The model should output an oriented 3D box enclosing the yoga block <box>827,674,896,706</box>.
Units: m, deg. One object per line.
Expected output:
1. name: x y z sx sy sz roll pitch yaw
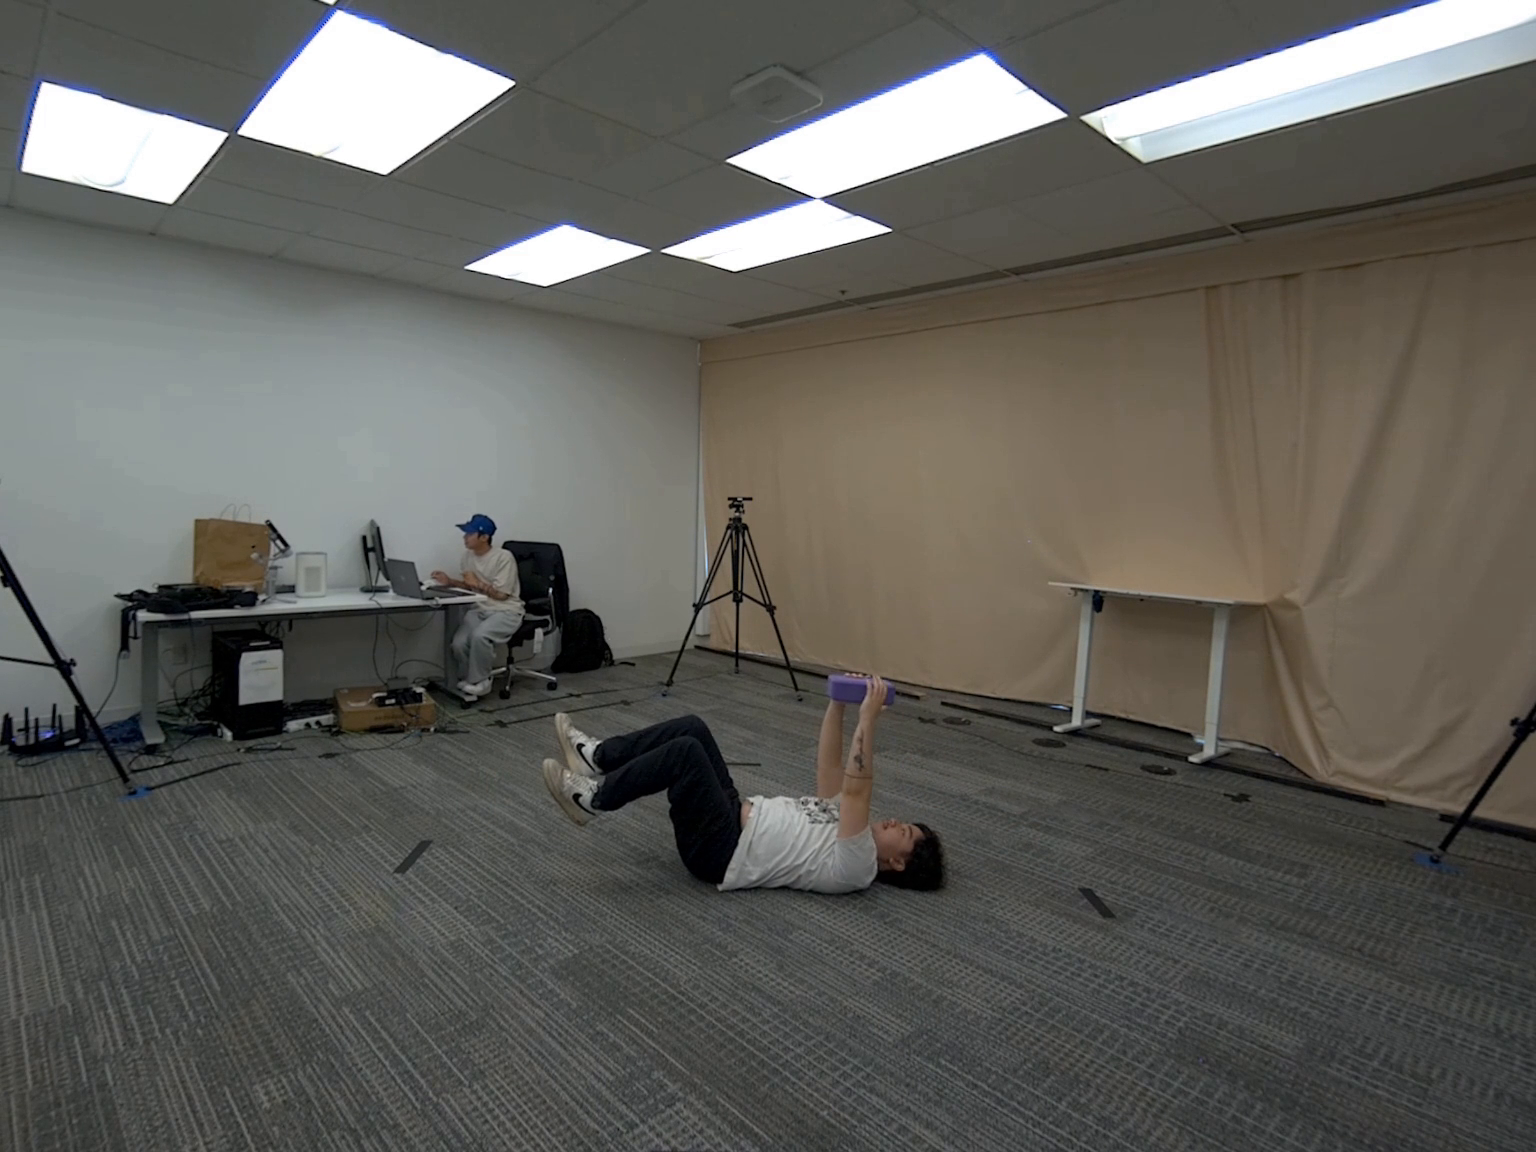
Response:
1. yoga block: 0.346 0.428 3.117 0.229 0.076 0.149 4 0 -1
